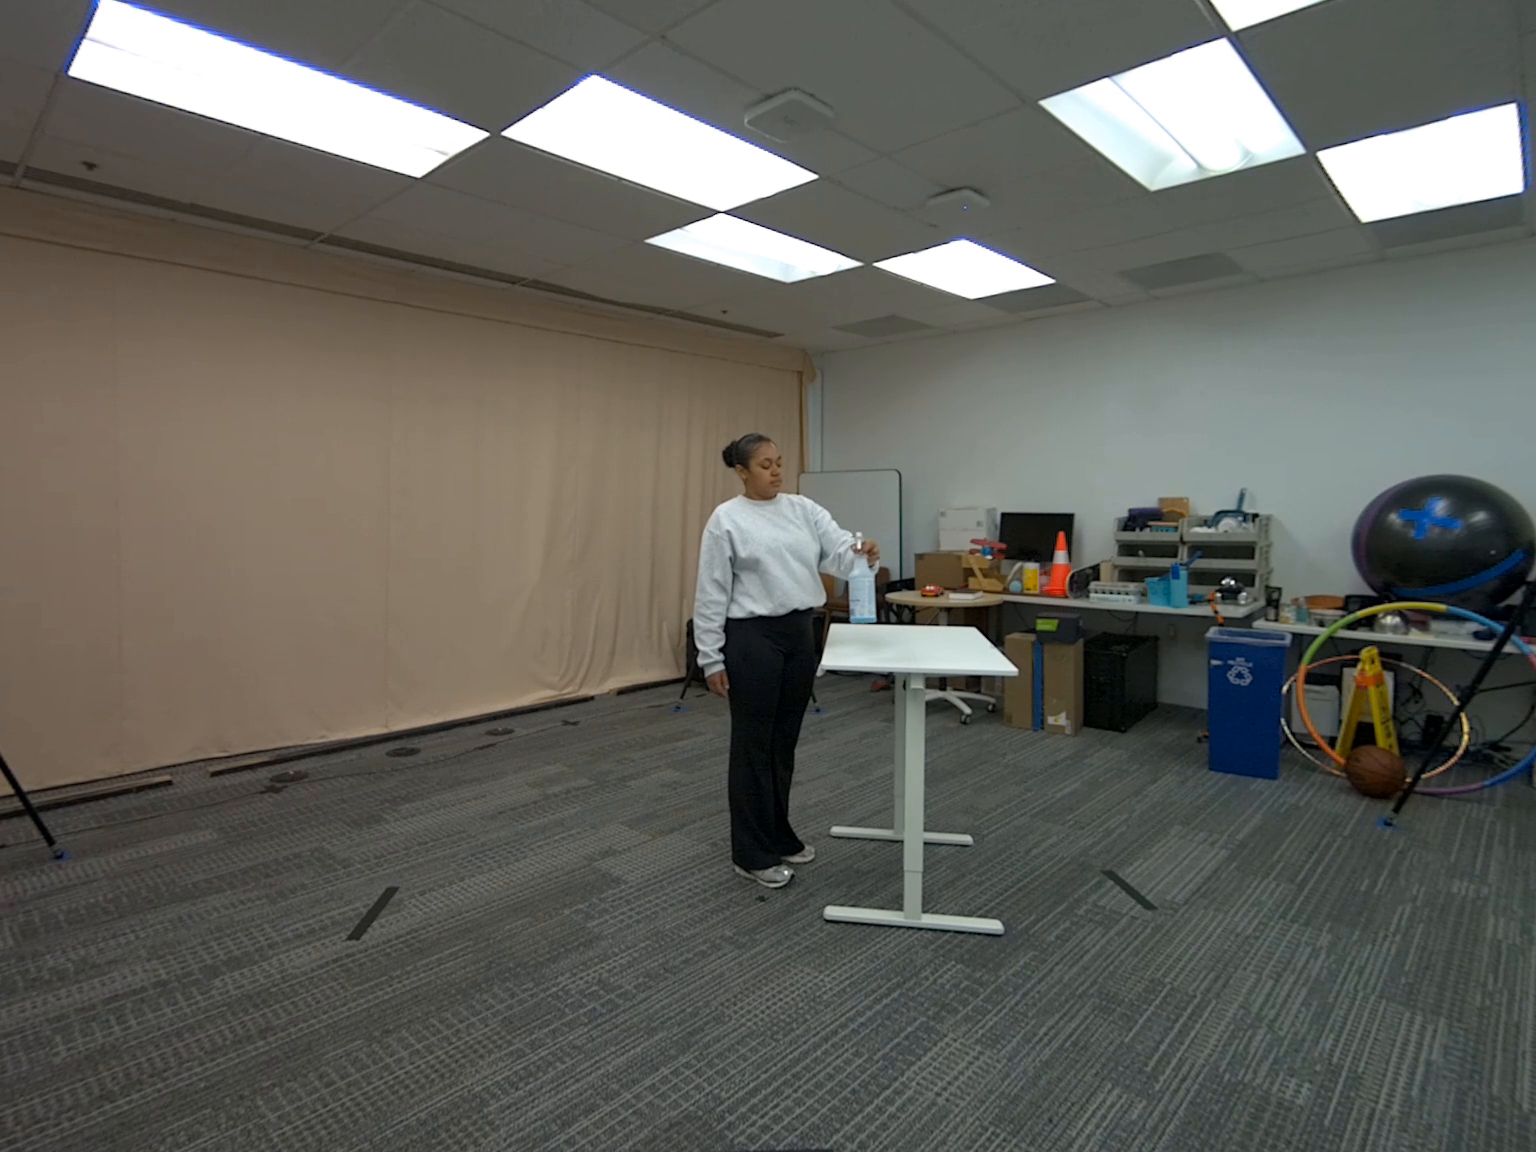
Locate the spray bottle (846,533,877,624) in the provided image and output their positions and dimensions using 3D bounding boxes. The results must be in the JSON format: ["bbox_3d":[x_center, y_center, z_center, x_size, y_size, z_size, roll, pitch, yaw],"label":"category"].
[{"bbox_3d":[0.316,-0.002,2.815,0.089,0.298,0.087,-5,-4,39],"label":"spray bottle"}]
